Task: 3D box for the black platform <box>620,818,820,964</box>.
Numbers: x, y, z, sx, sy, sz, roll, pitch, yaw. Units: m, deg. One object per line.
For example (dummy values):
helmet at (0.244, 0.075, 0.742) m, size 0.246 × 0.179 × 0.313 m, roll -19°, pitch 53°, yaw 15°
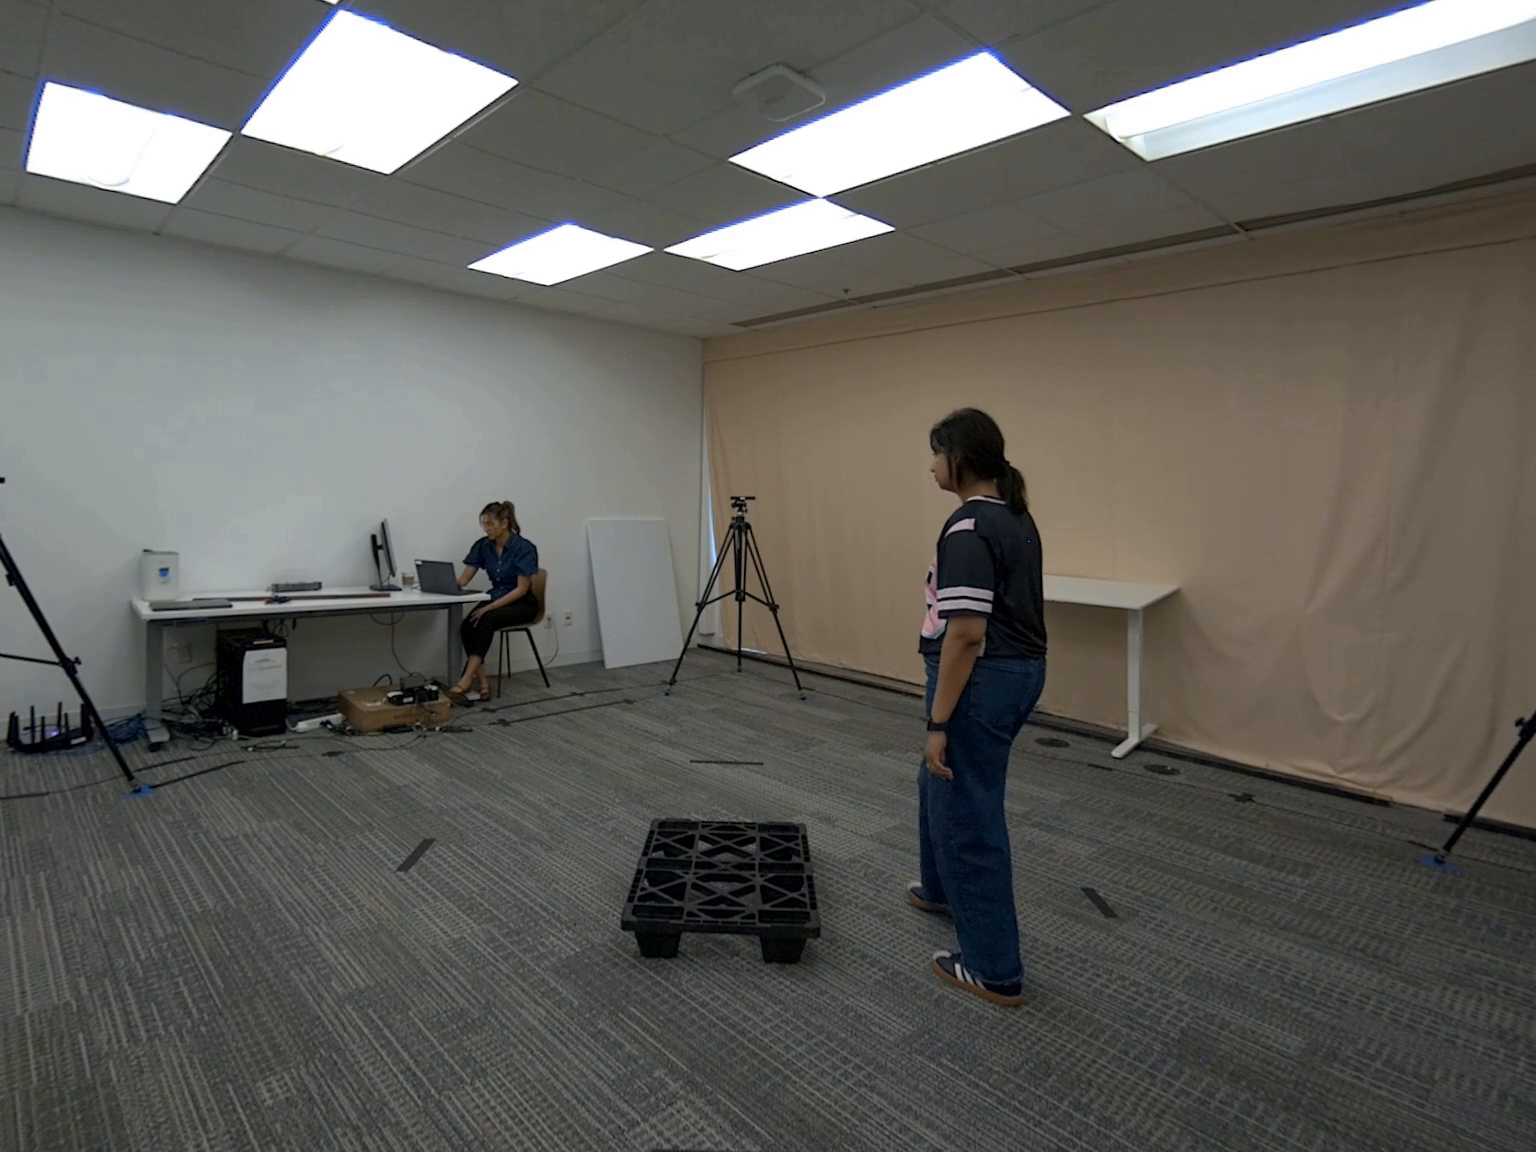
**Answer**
black platform at (-0.157, 1.059, 2.887) m, size 0.606 × 0.143 × 0.807 m, roll 1°, pitch 5°, yaw 0°
